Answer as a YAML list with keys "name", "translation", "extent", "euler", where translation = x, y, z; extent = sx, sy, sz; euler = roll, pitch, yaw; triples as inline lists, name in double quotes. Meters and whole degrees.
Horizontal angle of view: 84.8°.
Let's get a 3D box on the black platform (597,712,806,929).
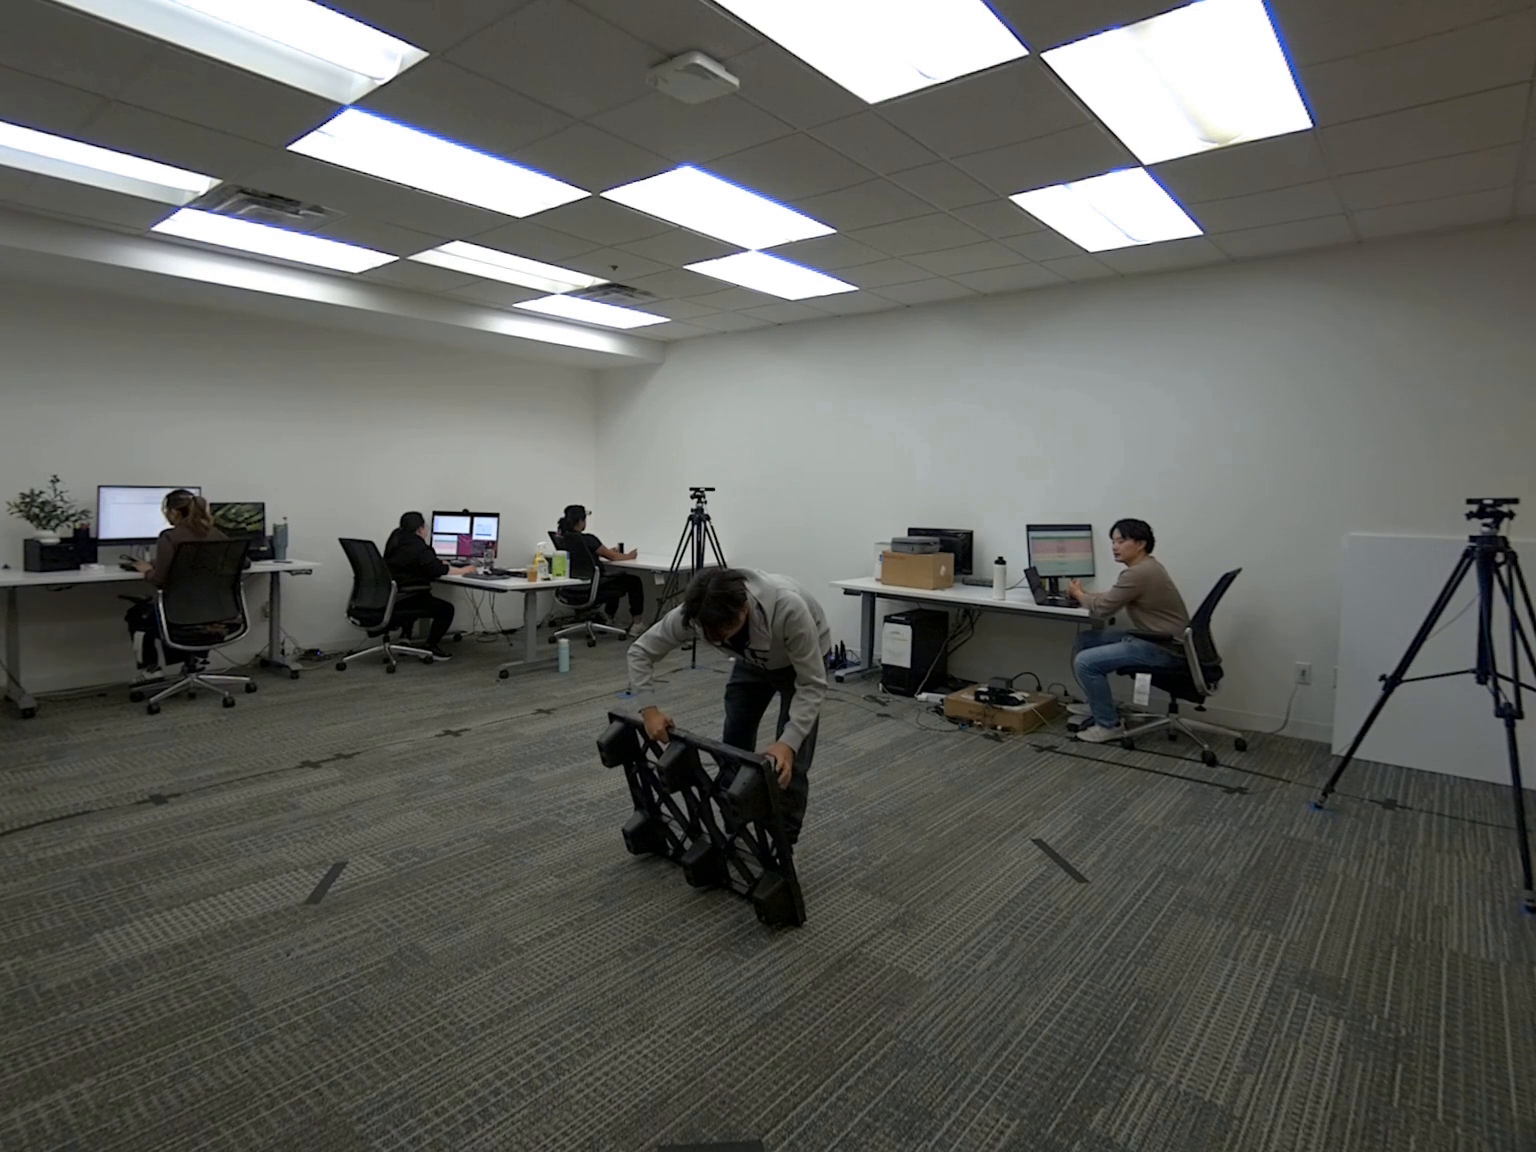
- name: "black platform"
  translation: [-0.275, 0.813, 2.889]
  extent: [0.141, 0.595, 0.833]
  euler: [-24, 21, -40]
